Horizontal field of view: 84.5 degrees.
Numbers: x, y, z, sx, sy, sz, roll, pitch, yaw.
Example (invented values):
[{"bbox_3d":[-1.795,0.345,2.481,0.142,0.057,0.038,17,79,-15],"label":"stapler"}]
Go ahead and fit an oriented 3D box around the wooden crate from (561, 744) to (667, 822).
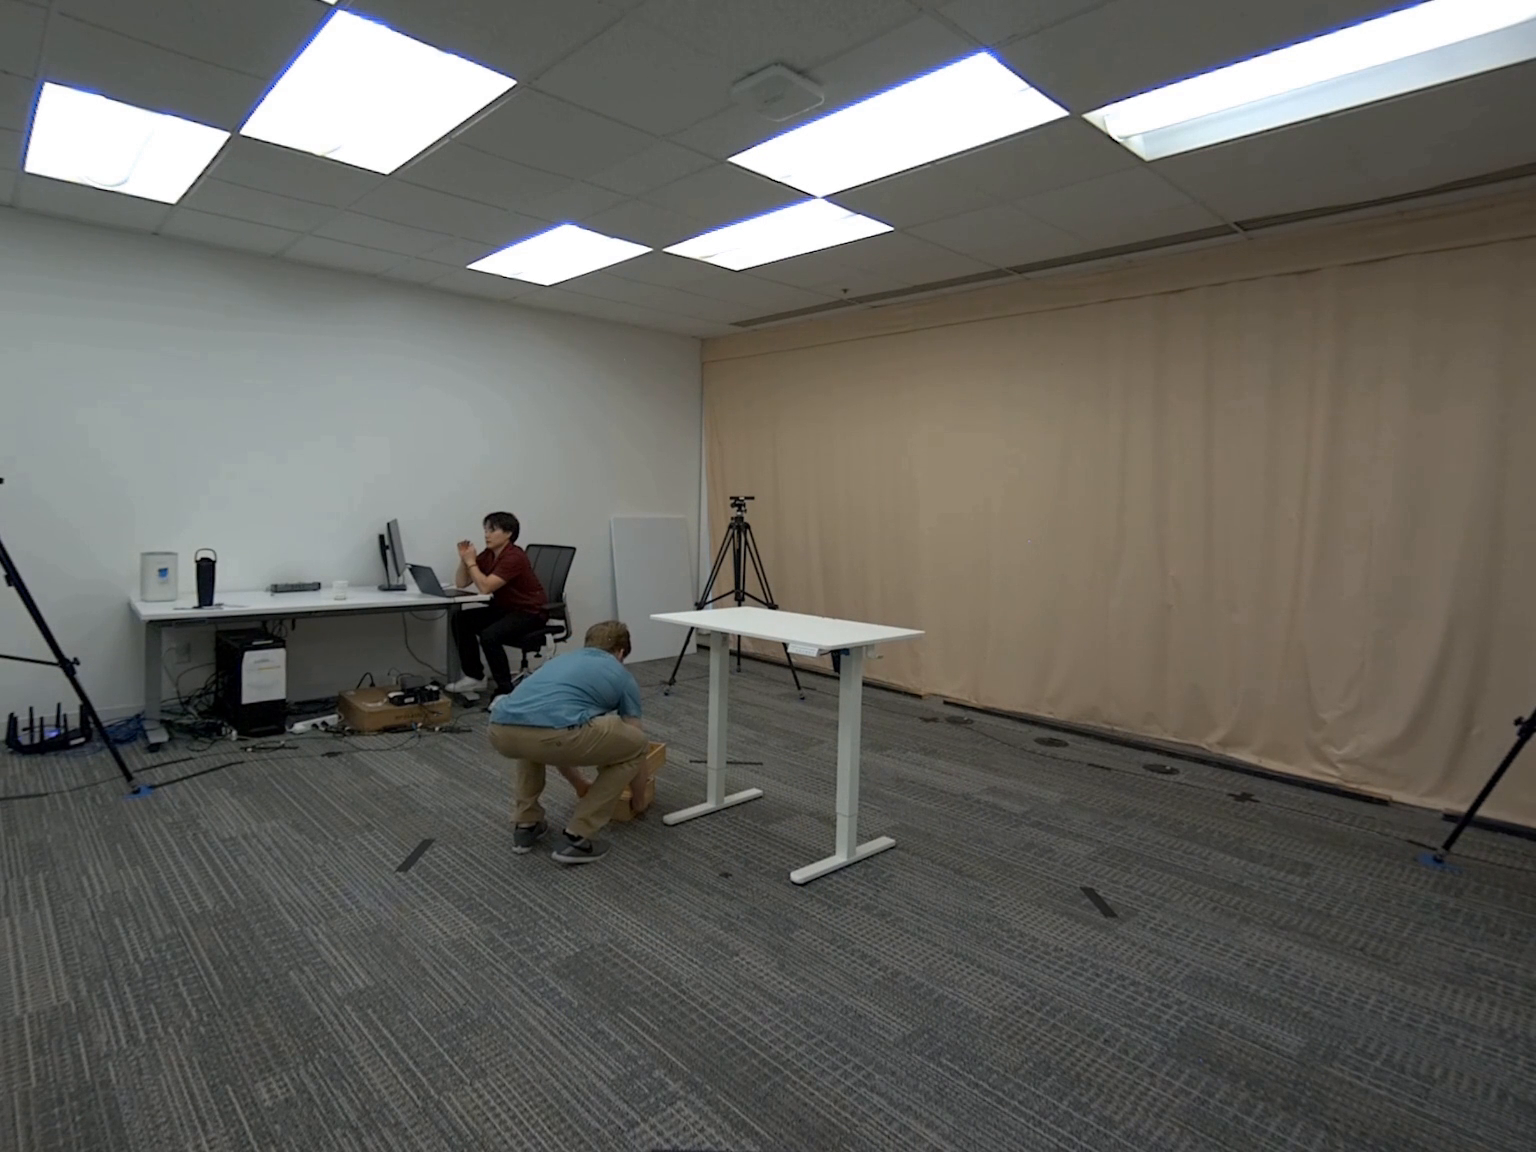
[{"bbox_3d":[-0.675,0.906,3.768,0.305,0.272,0.322,3,5,12],"label":"wooden crate"}]
